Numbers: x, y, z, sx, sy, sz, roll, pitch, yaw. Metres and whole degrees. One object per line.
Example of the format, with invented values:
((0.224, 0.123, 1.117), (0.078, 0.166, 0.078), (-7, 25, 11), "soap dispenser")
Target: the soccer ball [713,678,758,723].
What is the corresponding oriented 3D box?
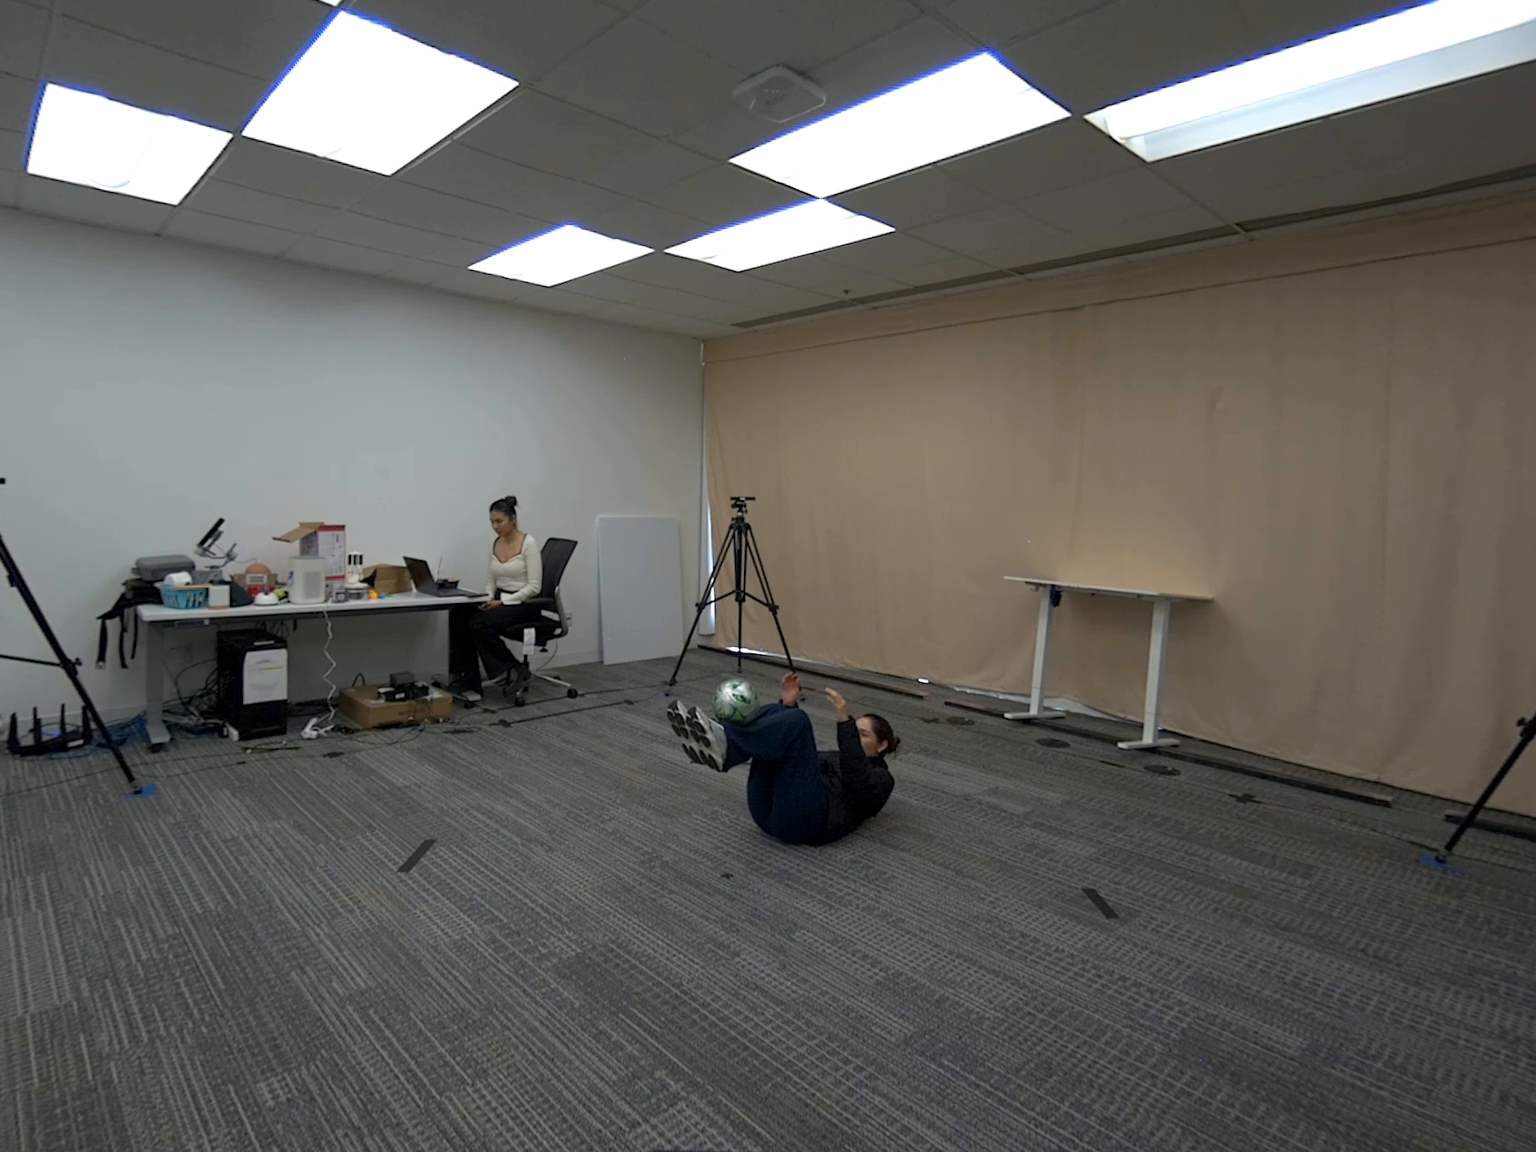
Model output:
((-0.135, 0.501, 3.284), (0.187, 0.186, 0.188), (0, 7, -1), "soccer ball")
